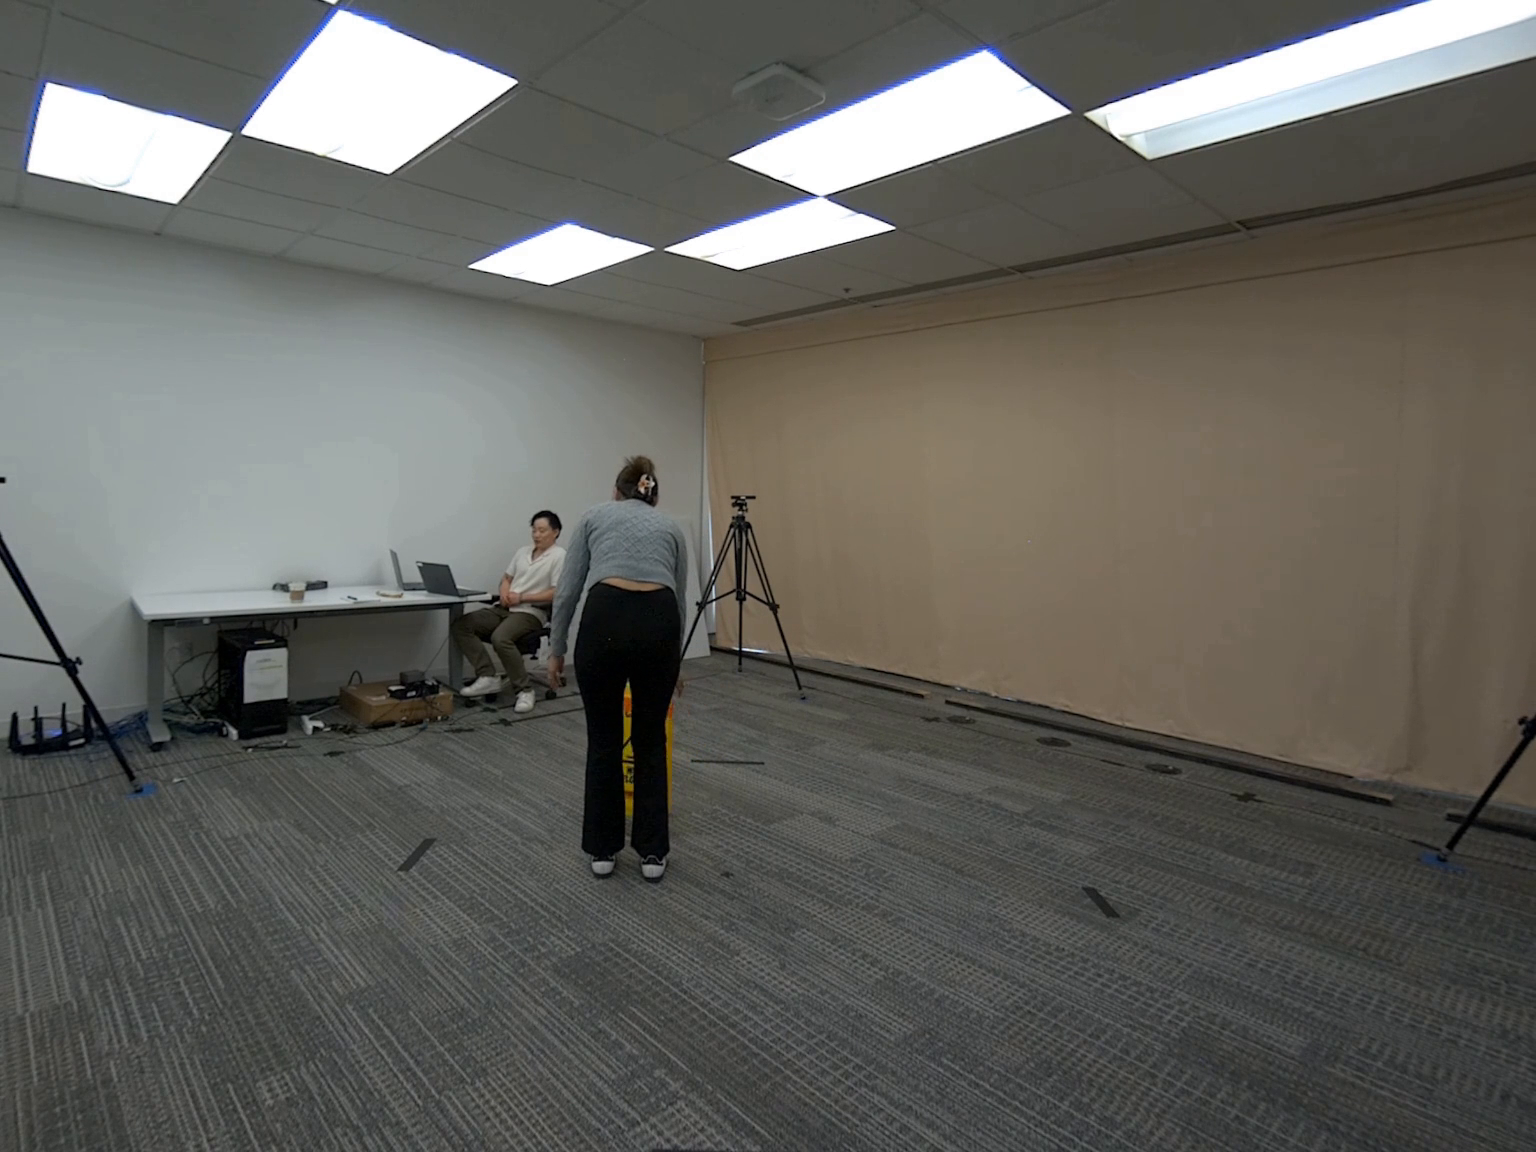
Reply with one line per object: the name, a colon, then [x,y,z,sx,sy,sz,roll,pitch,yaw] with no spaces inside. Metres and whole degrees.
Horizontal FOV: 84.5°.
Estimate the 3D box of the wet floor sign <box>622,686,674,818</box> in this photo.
wet floor sign: [-0.544,0.721,3.547,0.284,0.645,0.289,9,3,5]
